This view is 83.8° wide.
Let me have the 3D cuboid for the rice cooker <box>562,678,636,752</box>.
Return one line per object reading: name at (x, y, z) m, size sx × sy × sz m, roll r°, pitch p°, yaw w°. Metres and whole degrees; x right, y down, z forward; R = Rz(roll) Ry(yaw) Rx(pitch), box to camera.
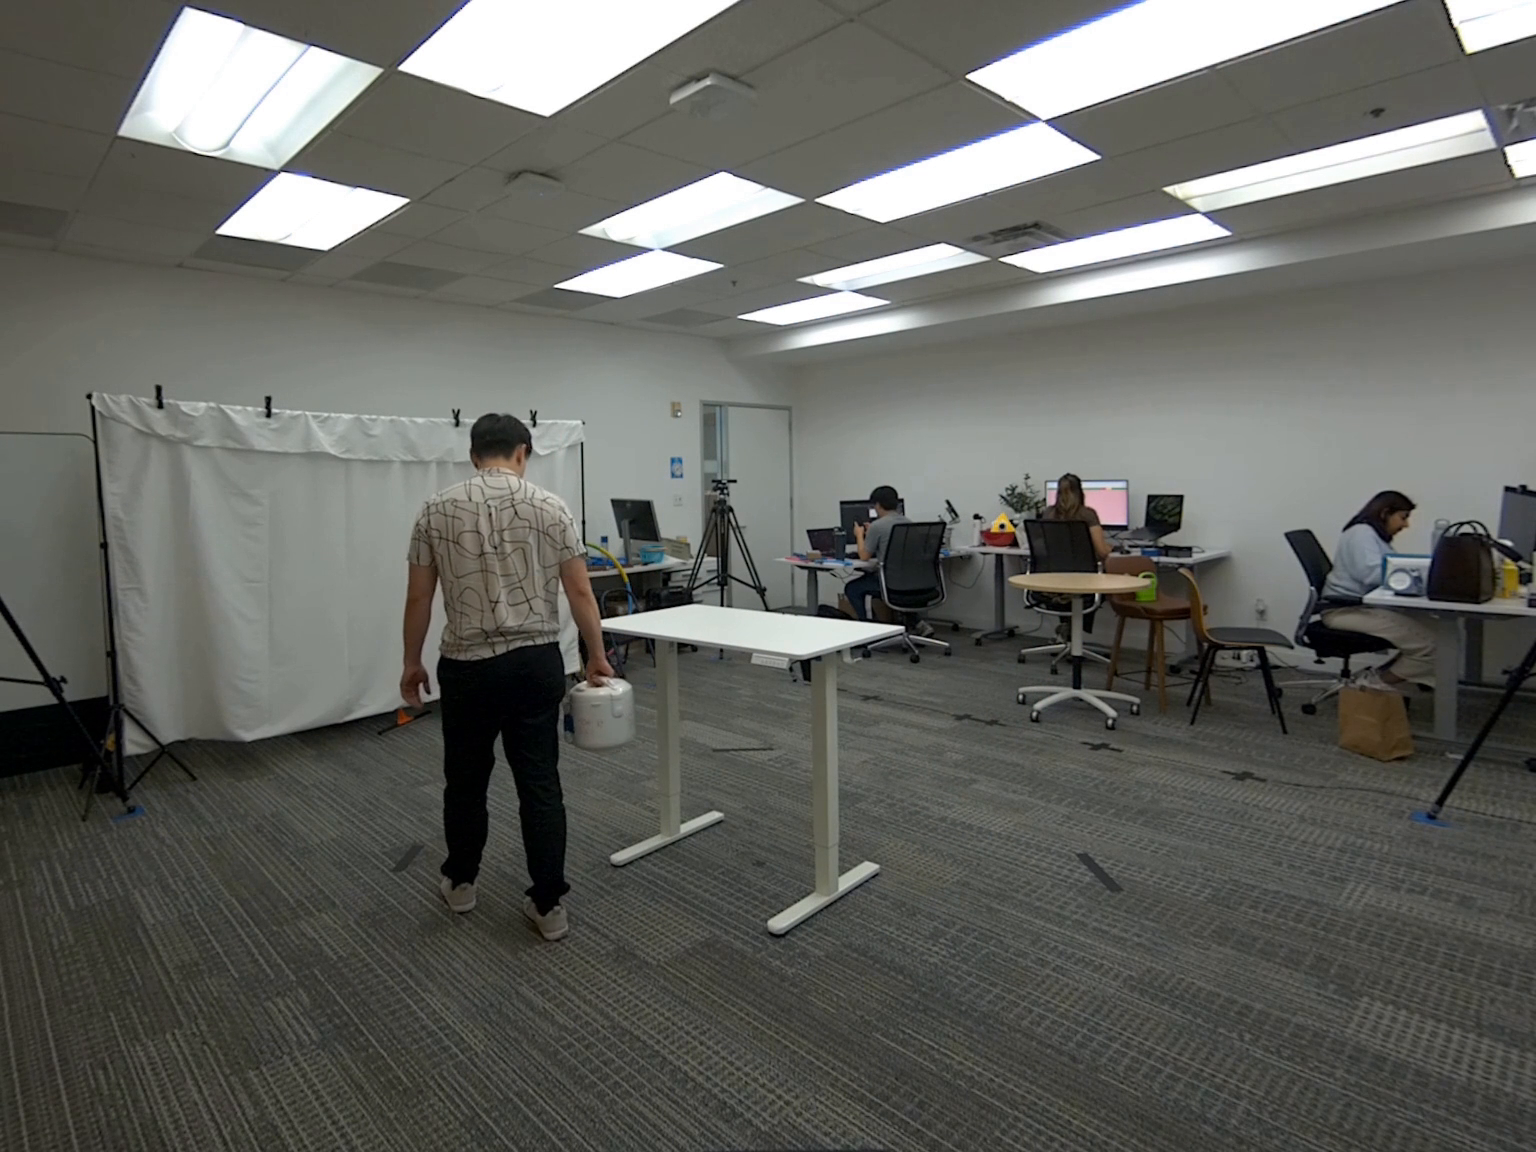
rice cooker at (-0.542, 0.437, 2.809) m, size 0.212 × 0.232 × 0.226 m, roll -5°, pitch 3°, yaw -38°
